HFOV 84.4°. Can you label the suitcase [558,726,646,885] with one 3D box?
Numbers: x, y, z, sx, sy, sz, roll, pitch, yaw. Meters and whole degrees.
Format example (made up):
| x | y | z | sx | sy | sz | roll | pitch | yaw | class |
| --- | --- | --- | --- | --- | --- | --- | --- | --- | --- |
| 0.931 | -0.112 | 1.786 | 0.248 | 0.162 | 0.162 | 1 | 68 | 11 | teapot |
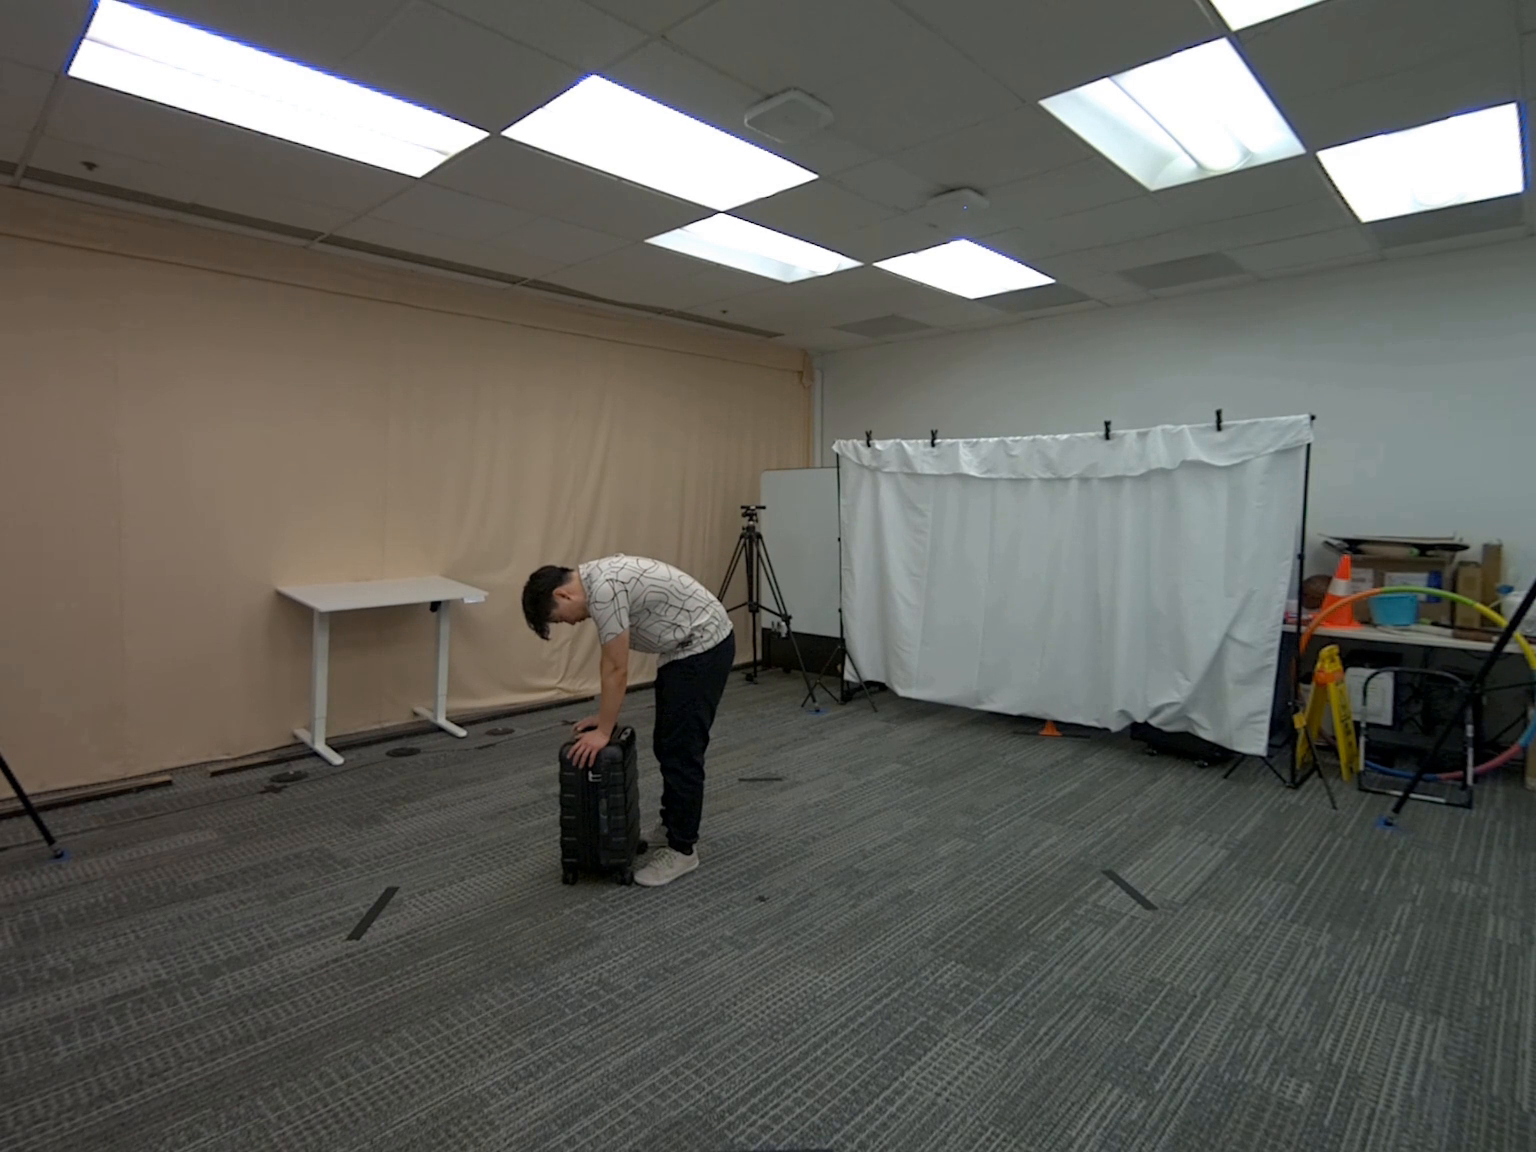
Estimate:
| x | y | z | sx | sy | sz | roll | pitch | yaw | class |
| --- | --- | --- | --- | --- | --- | --- | --- | --- | --- |
| -0.647 | 0.859 | 3.225 | 0.249 | 0.548 | 0.375 | -3 | 4 | 1 | suitcase |
